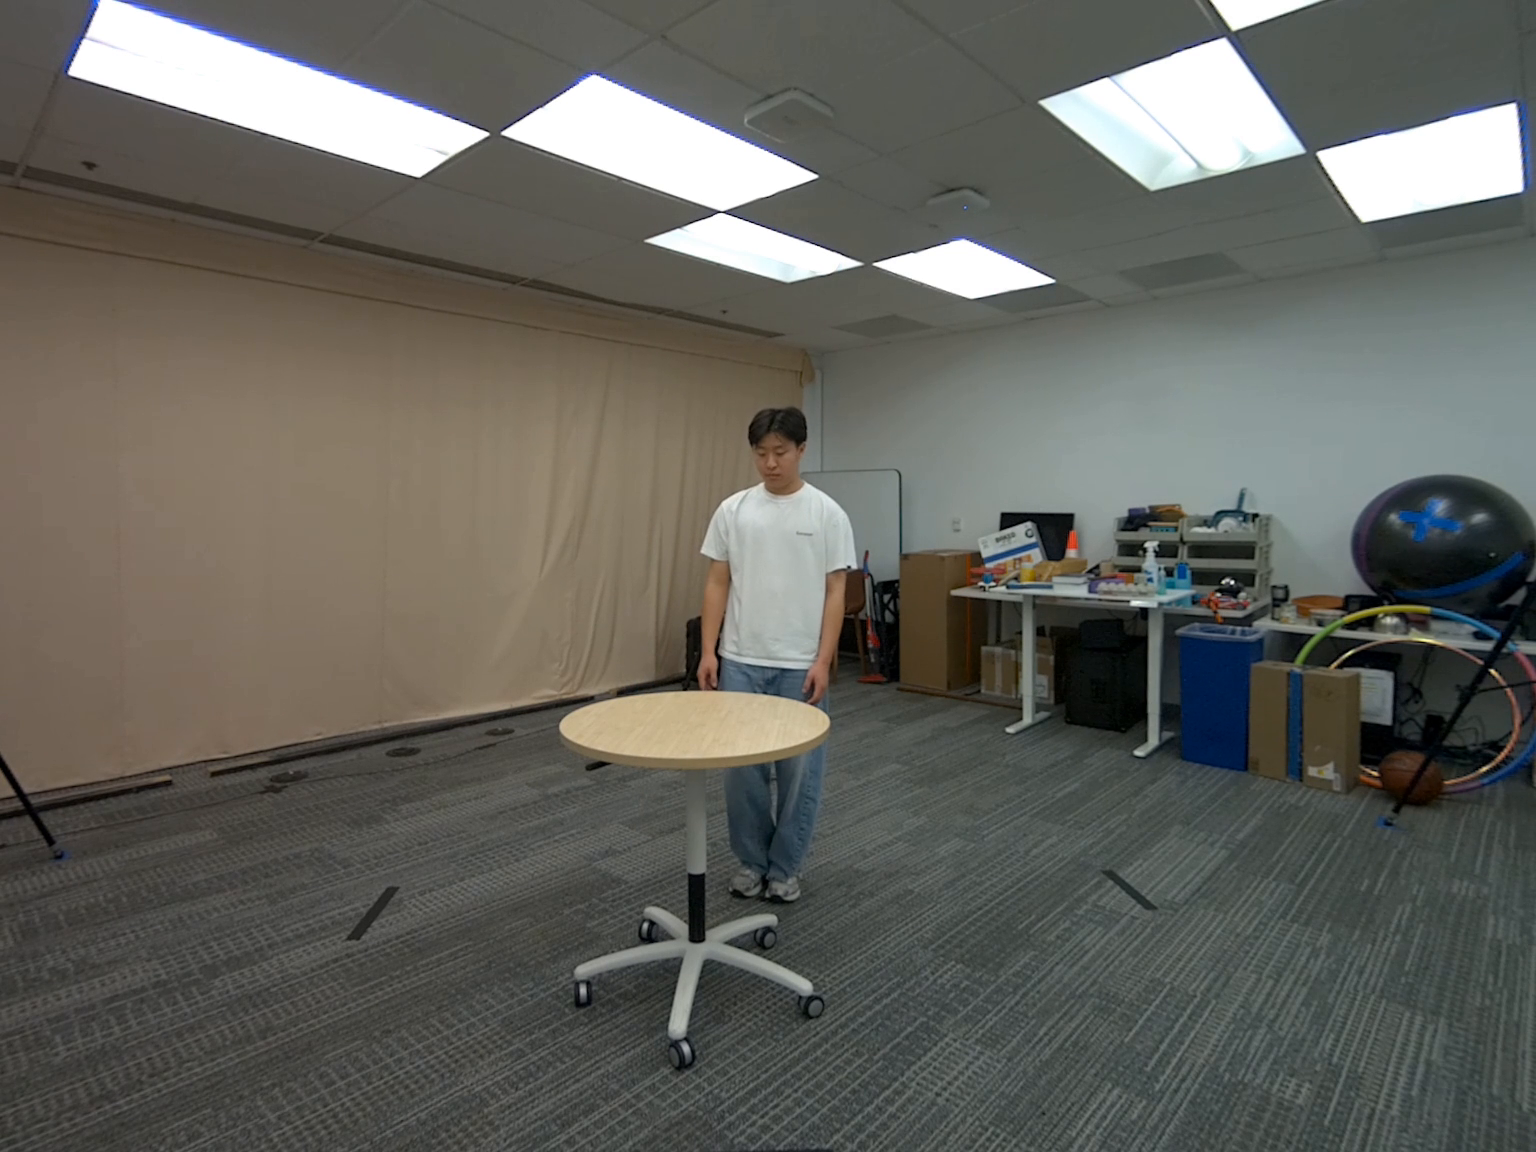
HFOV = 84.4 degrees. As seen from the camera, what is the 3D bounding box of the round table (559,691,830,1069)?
[{"bbox_3d":[-0.207,0.805,2.421,0.763,0.792,0.766,-1,3,-2],"label":"round table"}]
